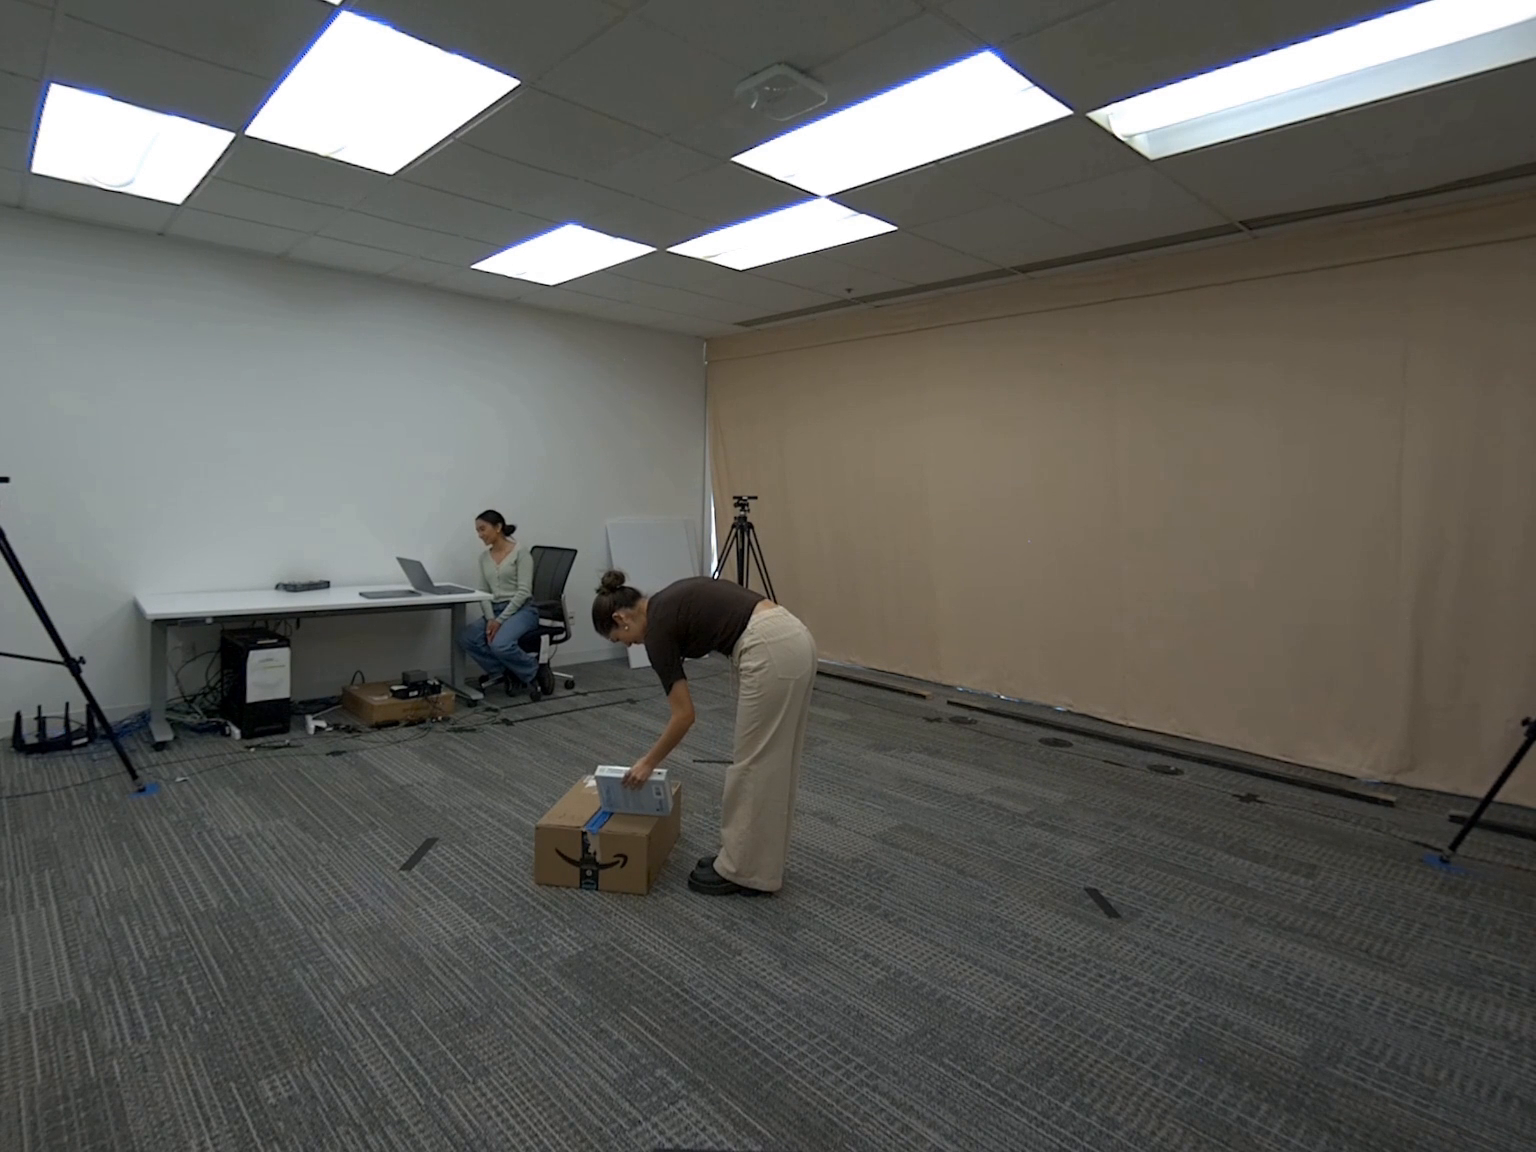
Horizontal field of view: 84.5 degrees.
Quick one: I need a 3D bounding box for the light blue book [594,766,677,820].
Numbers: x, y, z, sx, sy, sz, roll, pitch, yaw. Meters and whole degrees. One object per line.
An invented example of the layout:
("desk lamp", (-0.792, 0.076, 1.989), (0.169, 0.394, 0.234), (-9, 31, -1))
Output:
("light blue book", (-0.481, 0.784, 3.069), (0.263, 0.187, 0.060), (1, 33, 11))
